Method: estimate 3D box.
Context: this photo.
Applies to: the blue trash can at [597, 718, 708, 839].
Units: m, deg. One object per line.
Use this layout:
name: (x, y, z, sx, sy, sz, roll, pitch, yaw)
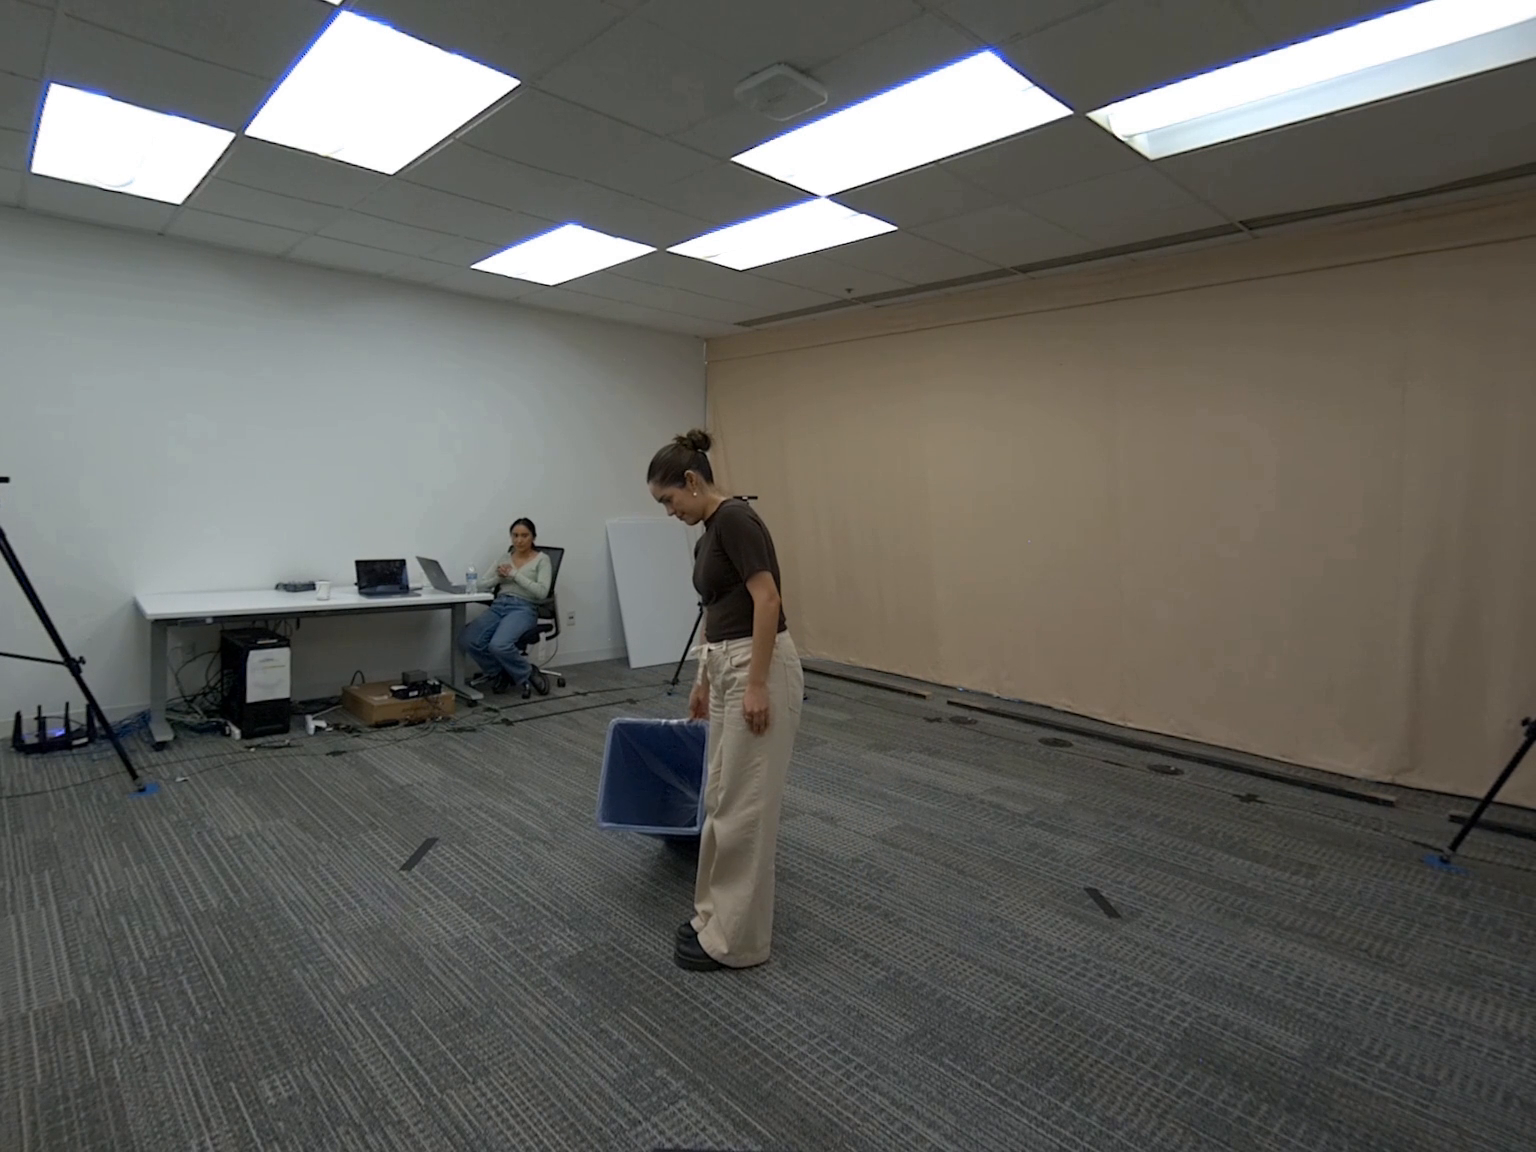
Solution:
blue trash can: (-0.333, 0.797, 3.108, 0.381, 0.380, 0.696, 0, -24, 10)
